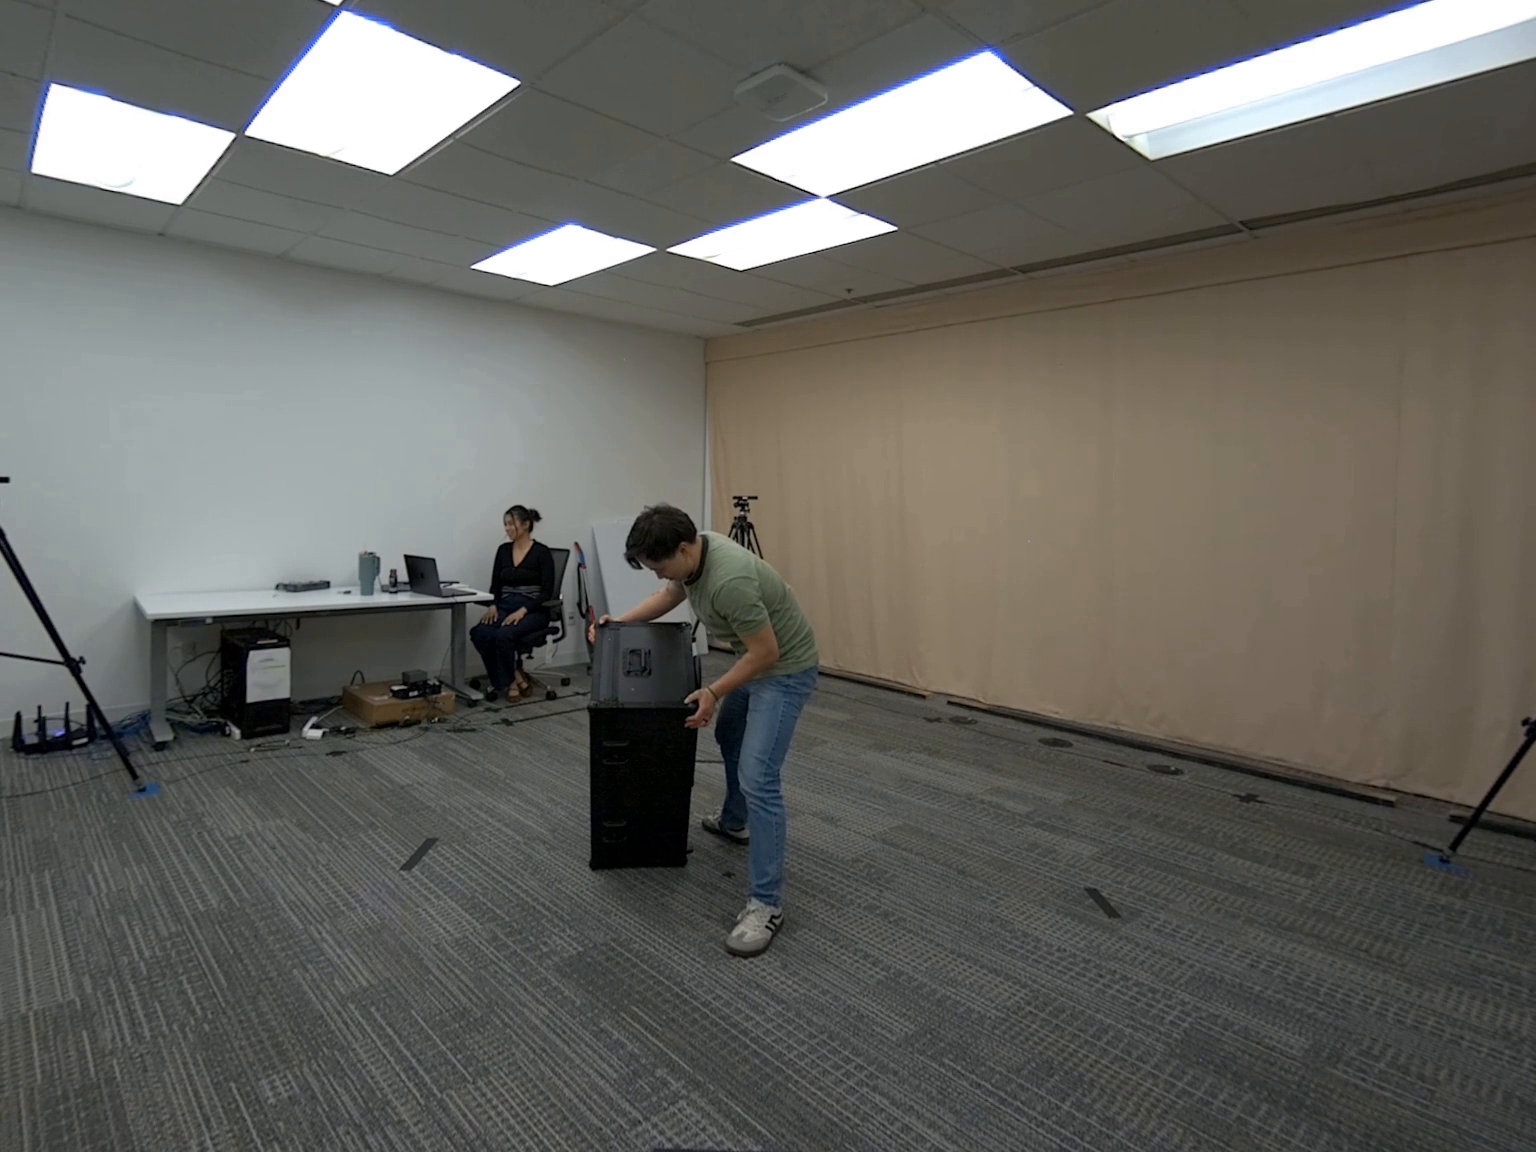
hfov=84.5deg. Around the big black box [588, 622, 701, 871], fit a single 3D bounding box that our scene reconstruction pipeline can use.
[{"bbox_3d":[-0.475,0.658,3.168,0.394,0.847,0.533,1,31,-8],"label":"big black box"}]
